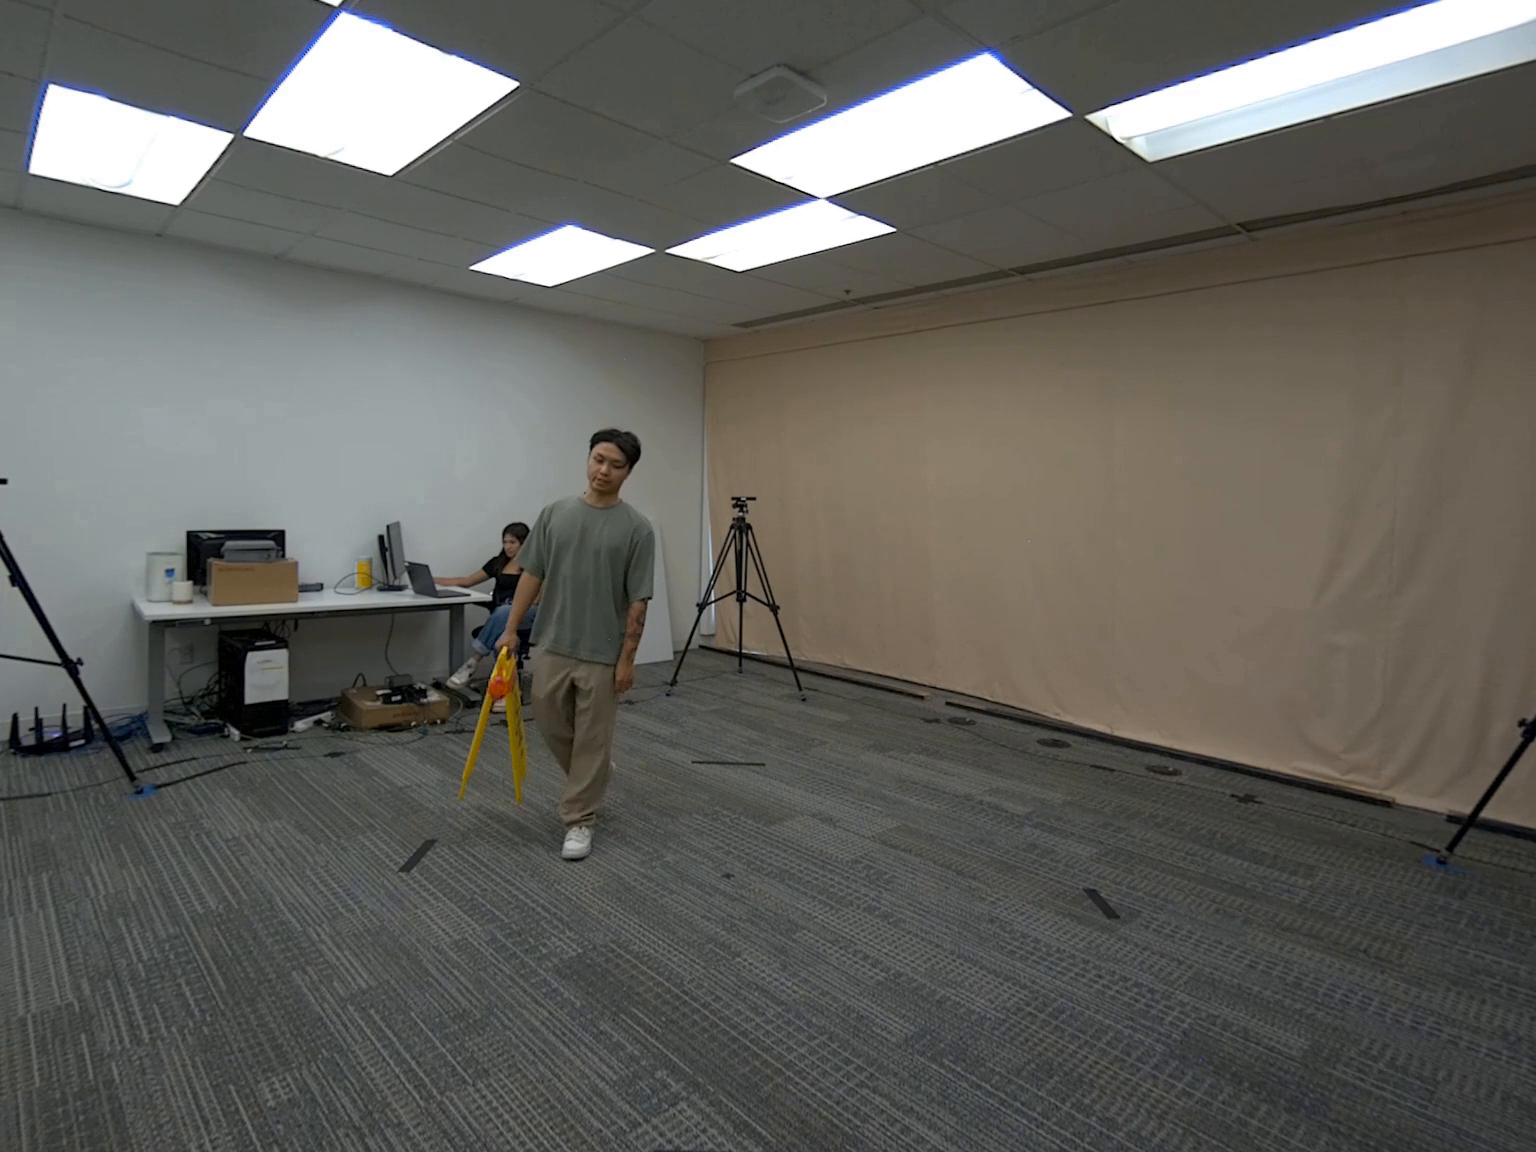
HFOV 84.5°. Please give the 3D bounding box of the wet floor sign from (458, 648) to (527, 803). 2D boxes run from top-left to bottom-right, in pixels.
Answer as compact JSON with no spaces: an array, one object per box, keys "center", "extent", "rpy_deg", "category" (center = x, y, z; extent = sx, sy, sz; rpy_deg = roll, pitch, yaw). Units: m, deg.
[{"center":[-1.103,0.577,3.463],"extent":[0.287,0.640,0.287],"rpy_deg":[7,16,-9],"category":"wet floor sign"}]
